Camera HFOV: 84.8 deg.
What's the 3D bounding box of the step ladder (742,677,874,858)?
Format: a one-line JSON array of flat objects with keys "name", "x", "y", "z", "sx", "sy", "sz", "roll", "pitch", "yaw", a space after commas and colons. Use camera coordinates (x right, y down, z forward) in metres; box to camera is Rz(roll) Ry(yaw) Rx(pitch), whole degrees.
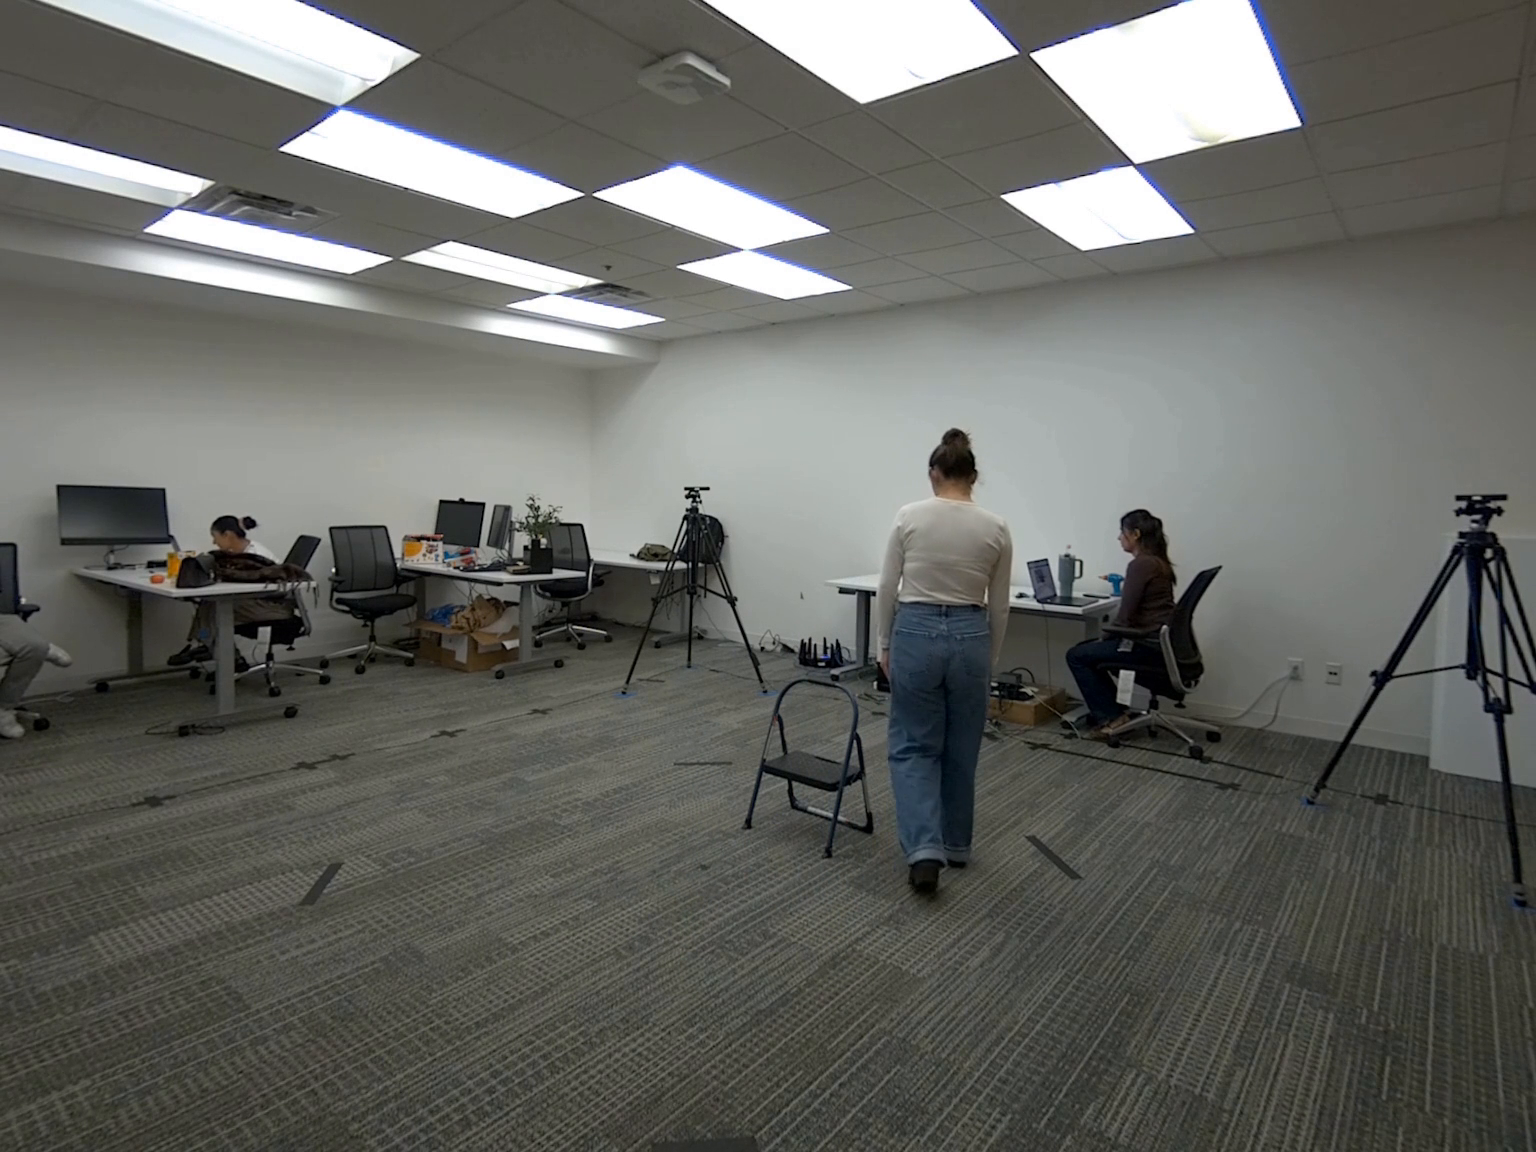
[{"name": "step ladder", "x": 0.164, "y": 0.735, "z": 3.461, "sx": 0.445, "sy": 0.604, "sz": 0.339, "roll": 4, "pitch": 5, "yaw": 39}]
